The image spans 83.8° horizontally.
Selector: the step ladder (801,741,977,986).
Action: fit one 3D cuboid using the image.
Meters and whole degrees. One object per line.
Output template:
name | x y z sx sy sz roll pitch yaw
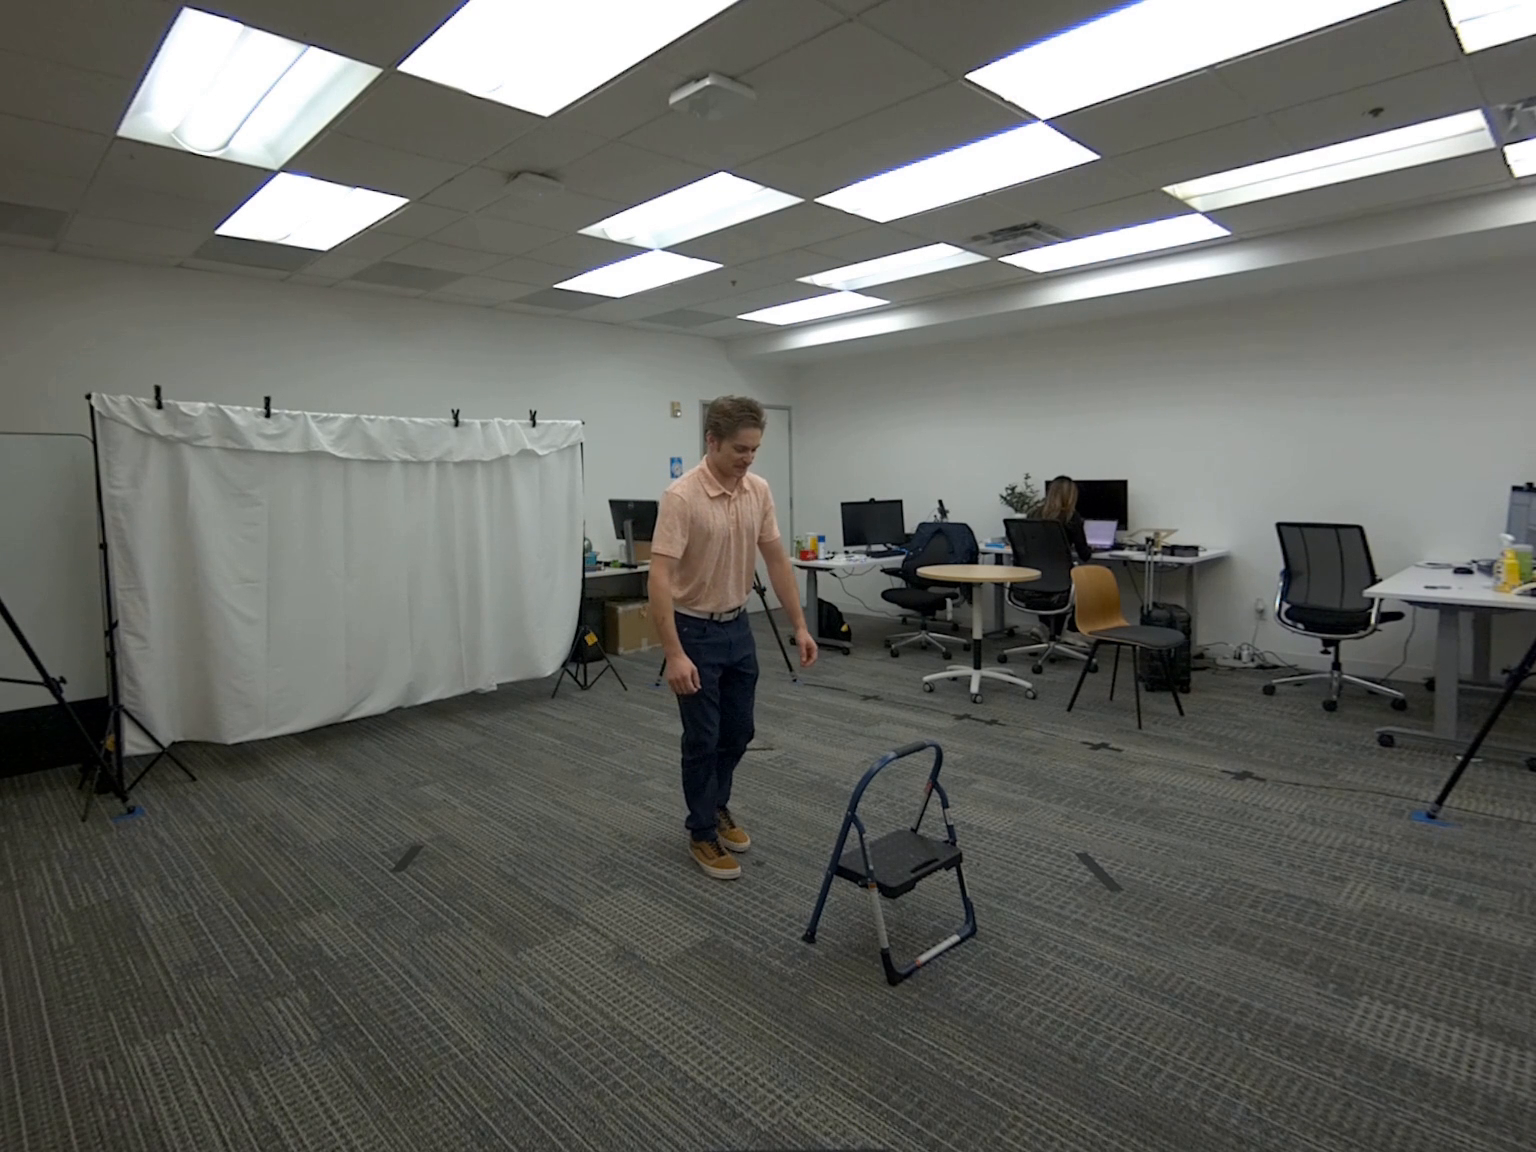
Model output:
step ladder | 0.372 0.797 2.584 0.419 0.604 0.360 -6 6 -43
